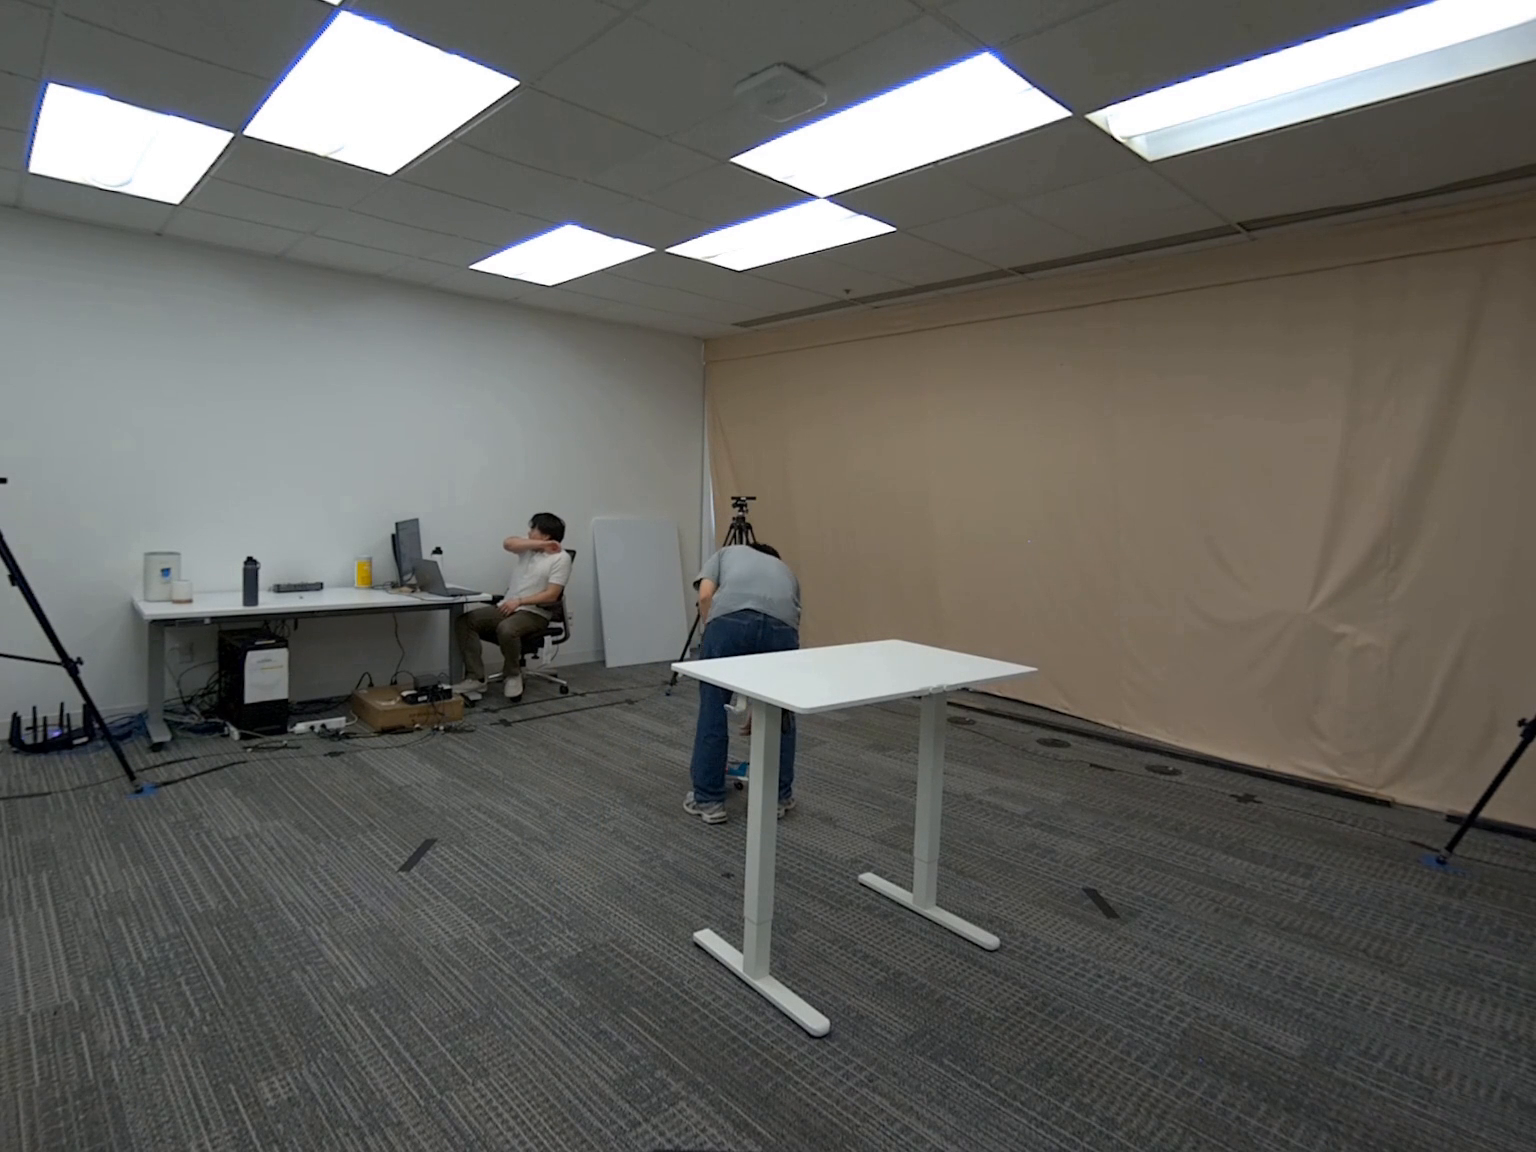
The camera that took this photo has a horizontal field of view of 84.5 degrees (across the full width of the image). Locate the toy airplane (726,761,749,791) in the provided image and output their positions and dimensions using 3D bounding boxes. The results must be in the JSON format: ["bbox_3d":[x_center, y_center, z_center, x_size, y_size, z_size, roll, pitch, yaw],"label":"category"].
[{"bbox_3d":[-0.241,0.953,4.052,0.257,0.156,0.253,5,6,43],"label":"toy airplane"}]
